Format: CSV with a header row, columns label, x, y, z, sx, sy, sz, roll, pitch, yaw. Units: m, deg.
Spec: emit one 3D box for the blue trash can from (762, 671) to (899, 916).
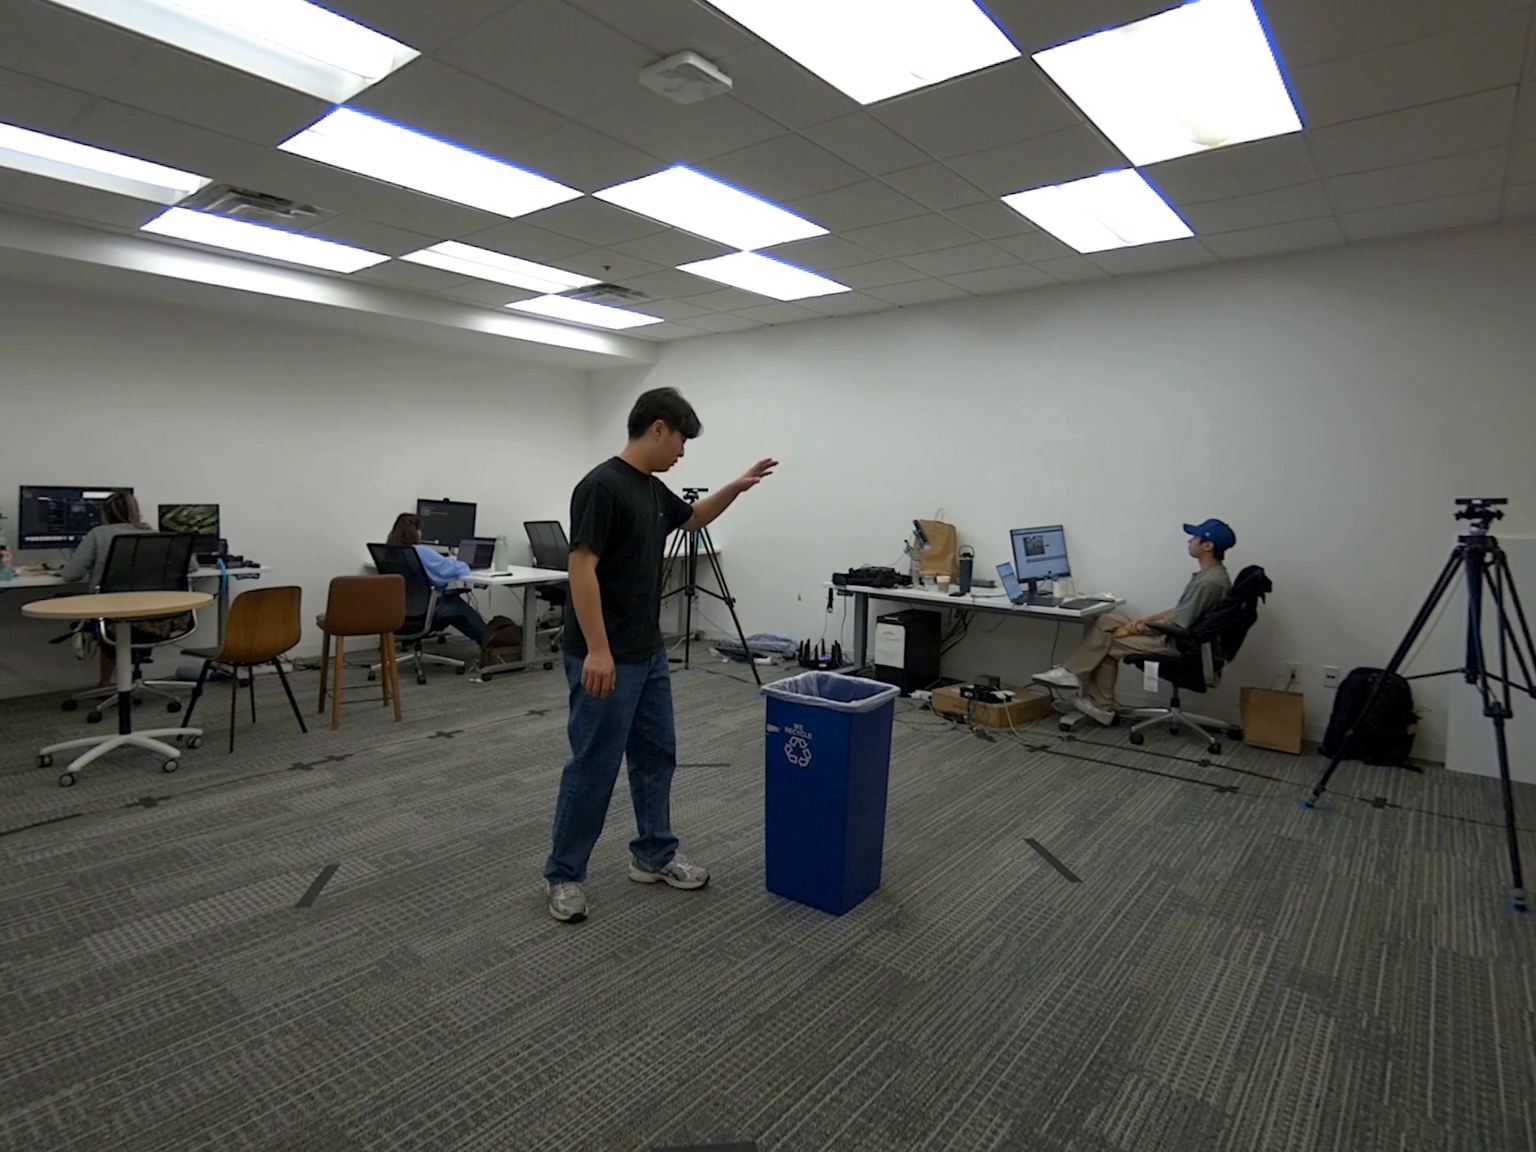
label,x,y,z,sx,sy,sz,roll,pitch,yaw
blue trash can,0.208,0.738,2.963,0.386,0.711,0.367,4,4,35
